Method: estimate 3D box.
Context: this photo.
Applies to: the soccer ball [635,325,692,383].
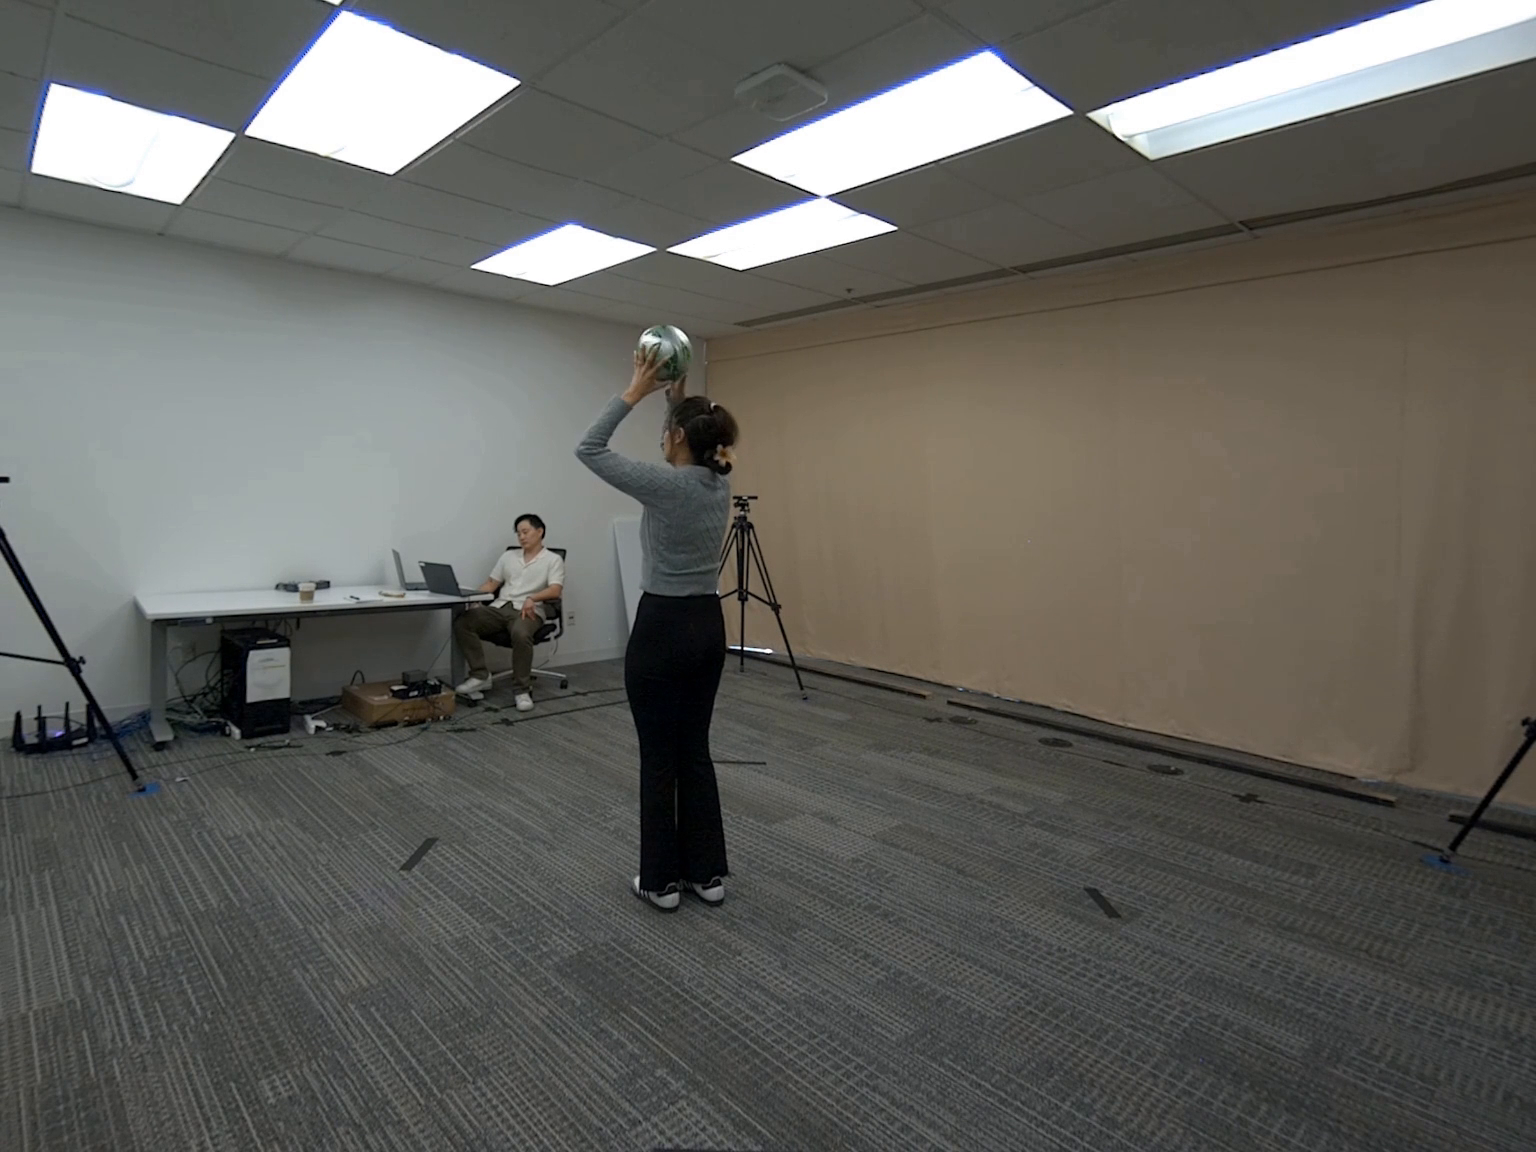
[{"bbox_3d":[-0.353,-0.714,2.781,0.187,0.187,0.188,1,4,-1],"label":"soccer ball"}]
